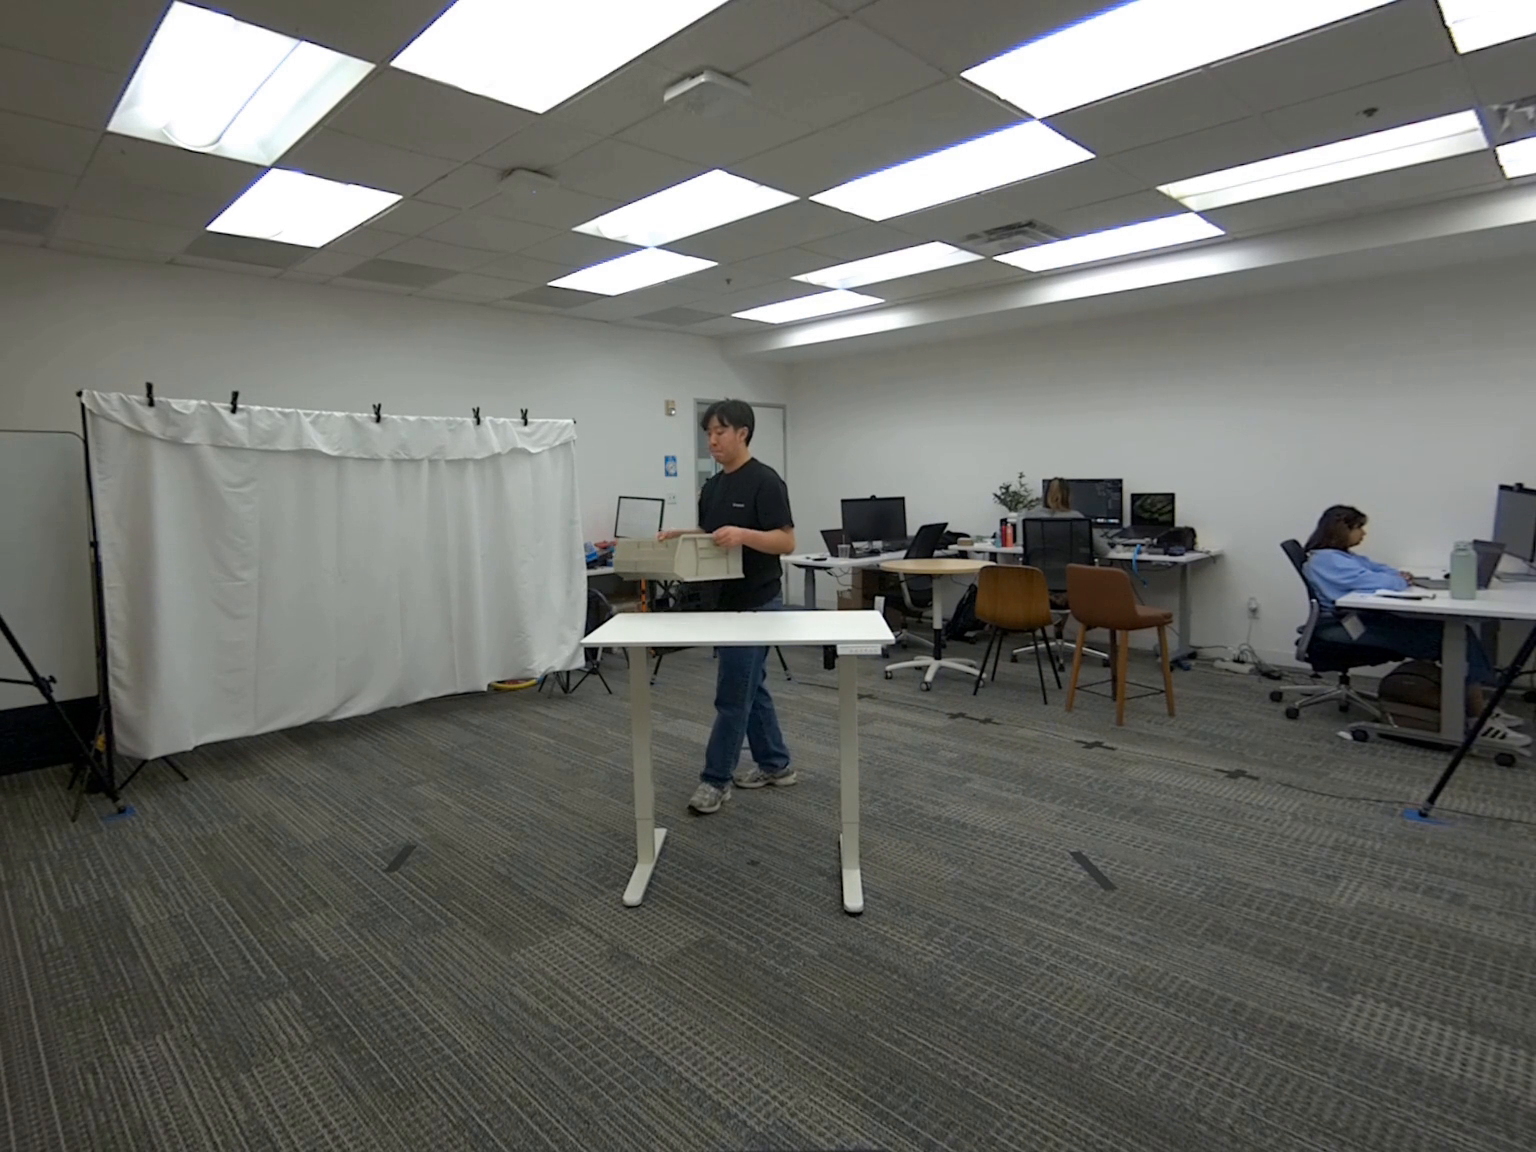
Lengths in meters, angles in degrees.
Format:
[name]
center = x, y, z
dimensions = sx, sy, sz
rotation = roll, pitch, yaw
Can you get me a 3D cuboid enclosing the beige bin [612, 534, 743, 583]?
[beige bin]
center = -0.366, -0.071, 3.511
dimensions = 0.366, 0.189, 0.434
rotation = -1, 1, -43
